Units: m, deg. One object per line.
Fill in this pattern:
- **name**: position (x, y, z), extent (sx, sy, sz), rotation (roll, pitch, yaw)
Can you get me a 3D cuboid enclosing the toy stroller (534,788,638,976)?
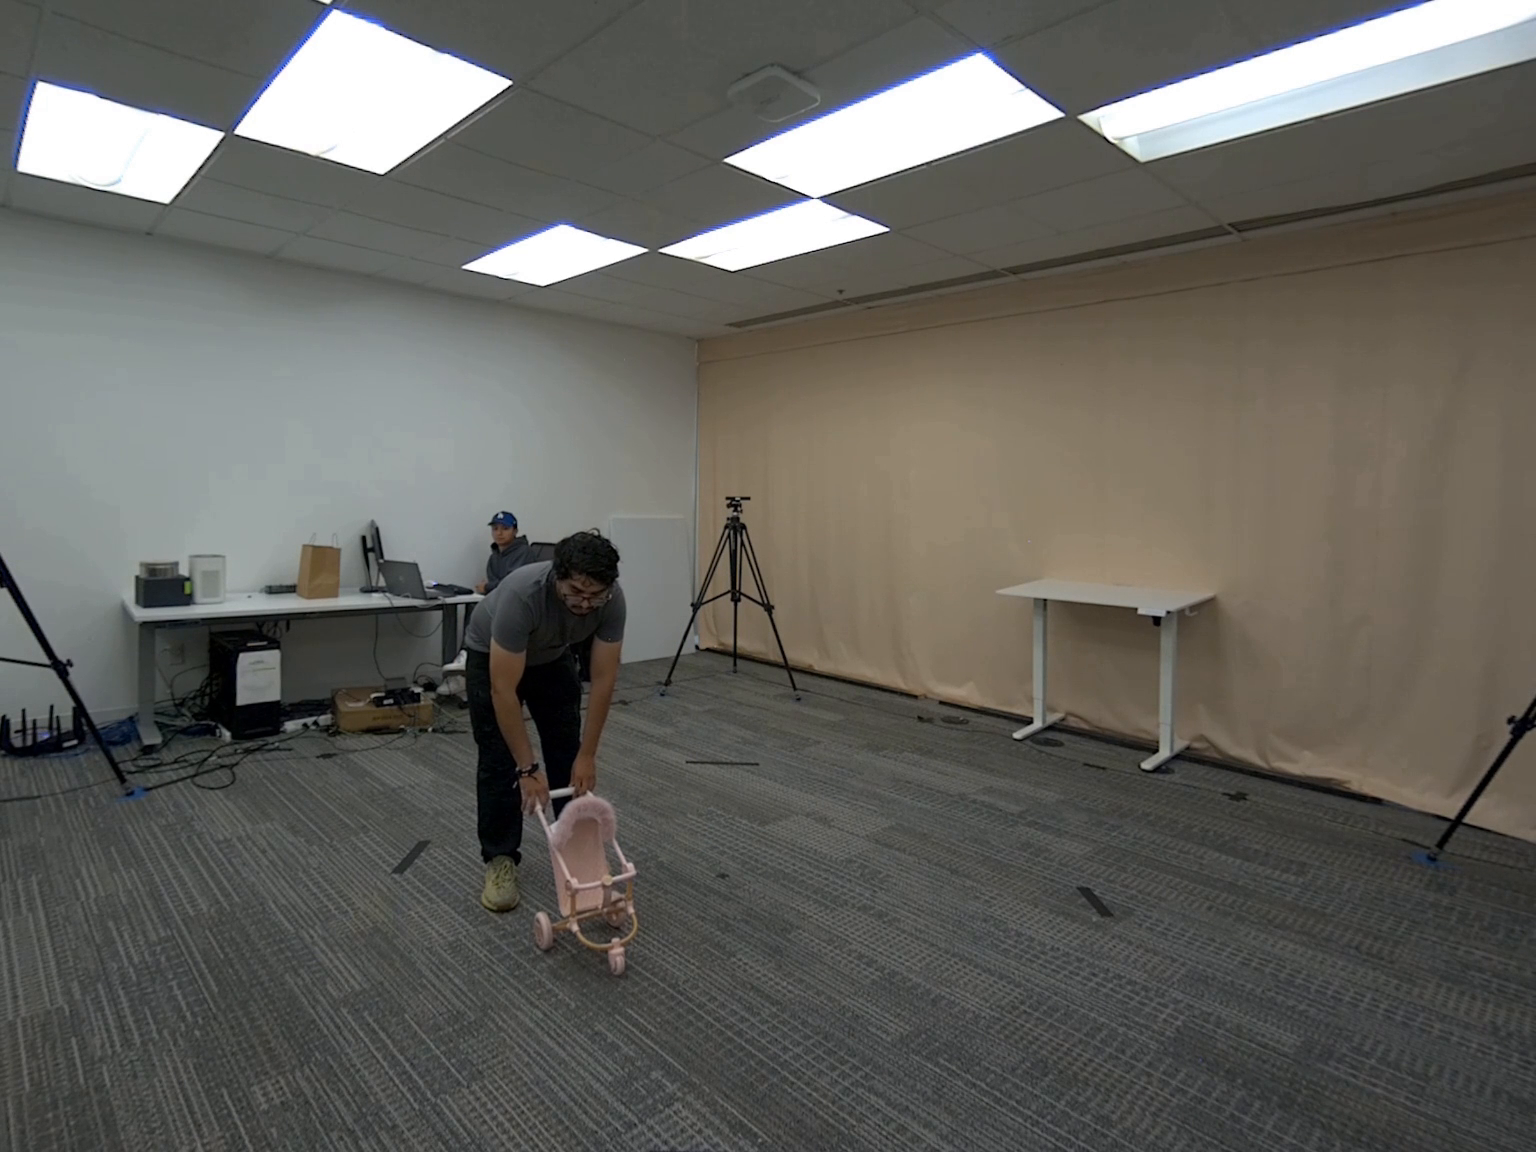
- **toy stroller**: position (-0.559, 0.922, 2.593), extent (0.275, 0.540, 0.345), rotation (-1, -13, -33)
